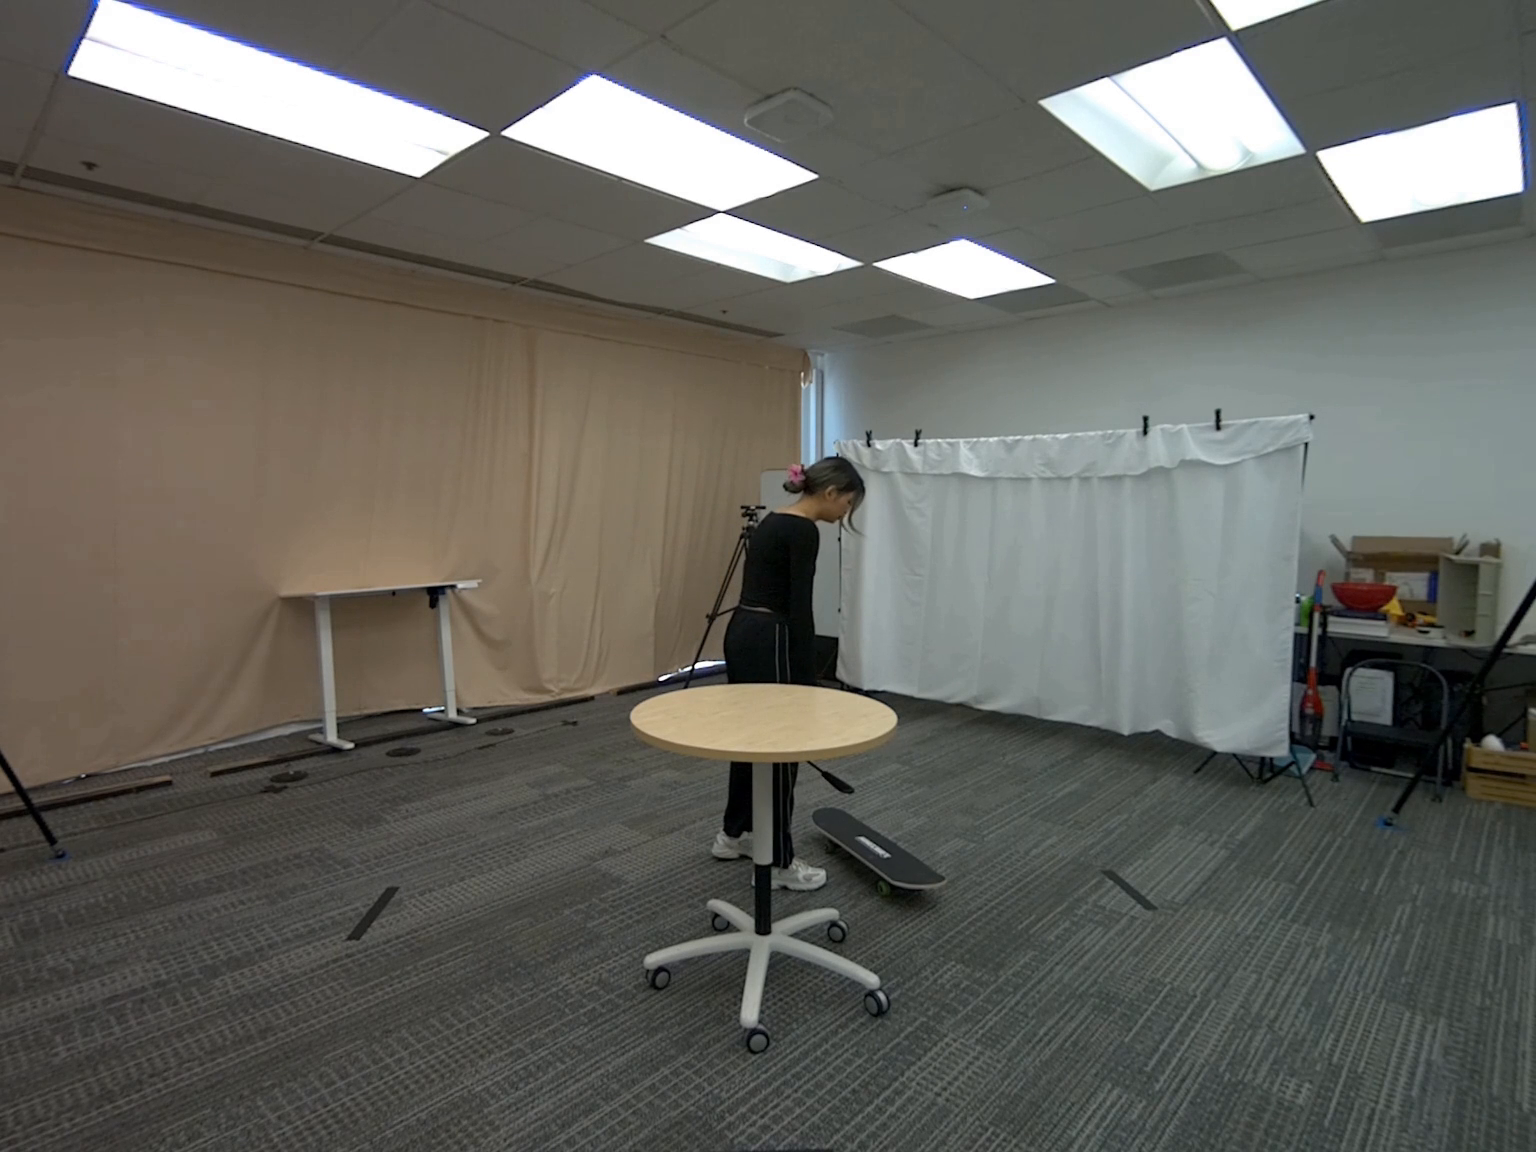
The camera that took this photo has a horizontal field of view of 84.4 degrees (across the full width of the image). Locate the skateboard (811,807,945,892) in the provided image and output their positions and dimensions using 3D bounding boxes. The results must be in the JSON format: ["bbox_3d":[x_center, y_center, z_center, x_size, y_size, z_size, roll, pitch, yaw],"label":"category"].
[{"bbox_3d":[0.401,1.061,3.216,0.189,0.110,0.805,-2,5,-24],"label":"skateboard"}]
